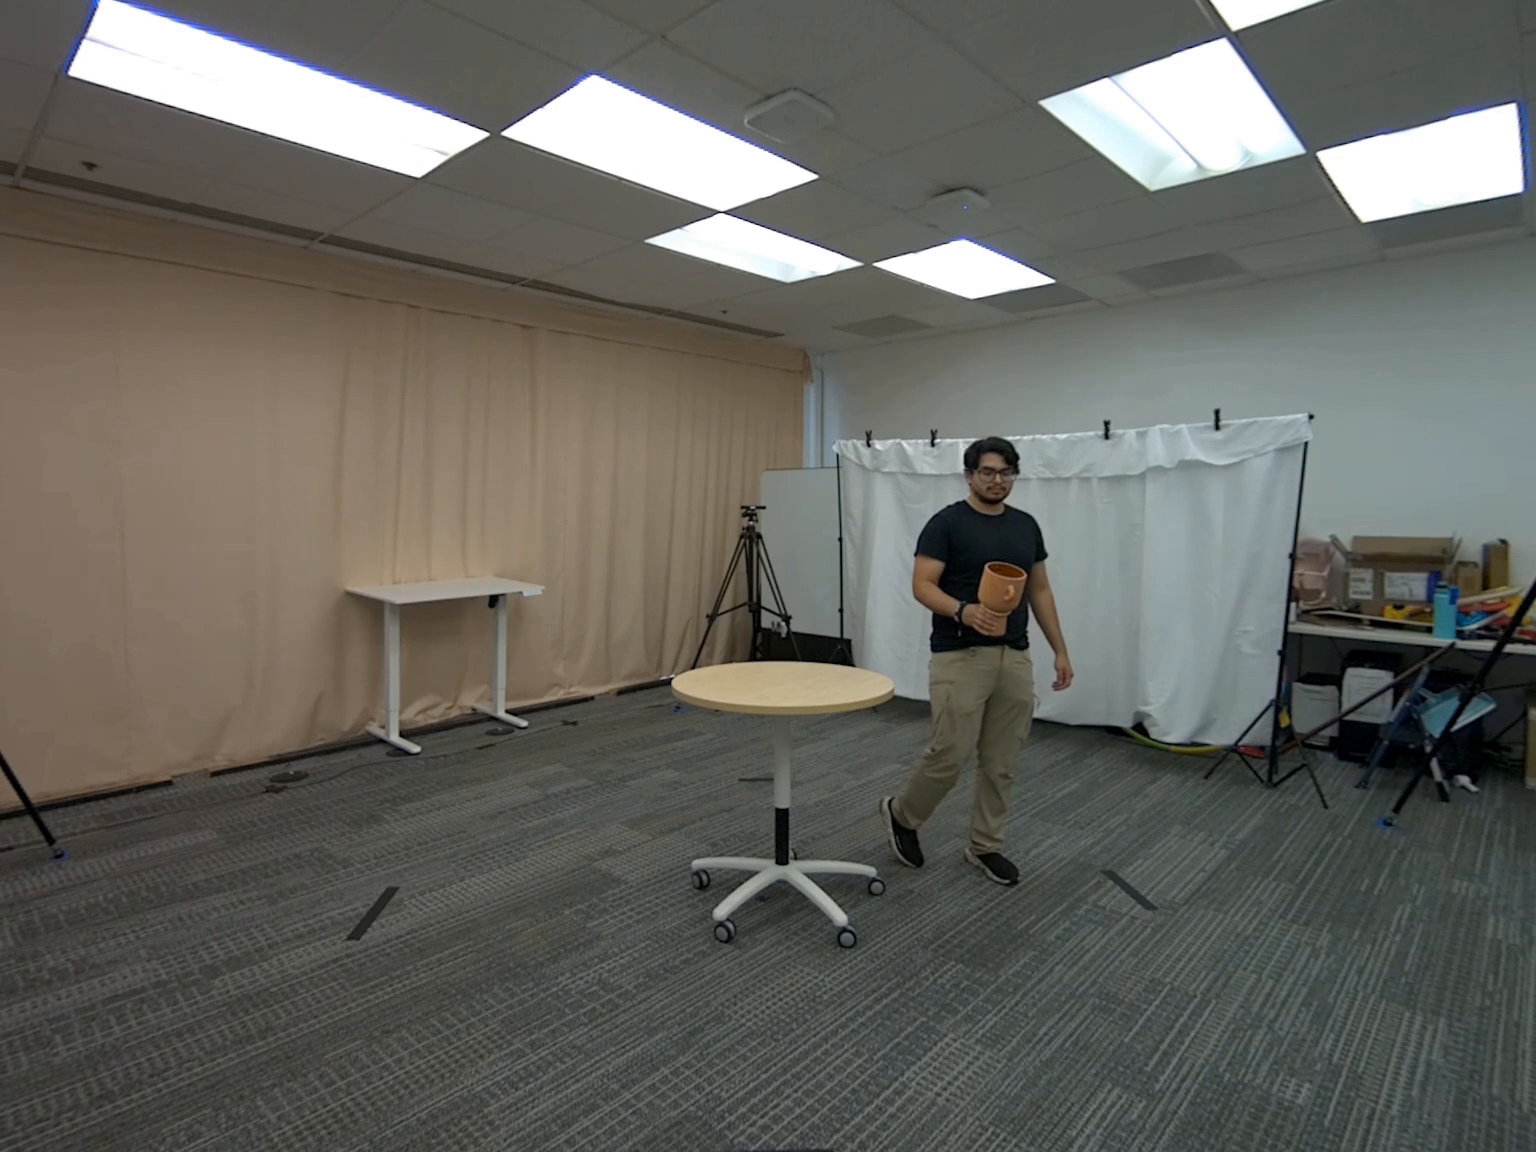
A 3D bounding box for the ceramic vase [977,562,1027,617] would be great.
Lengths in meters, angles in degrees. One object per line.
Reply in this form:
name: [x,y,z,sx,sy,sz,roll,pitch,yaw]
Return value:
ceramic vase: [0.758,0.082,2.802,0.139,0.217,0.155,24,28,31]
